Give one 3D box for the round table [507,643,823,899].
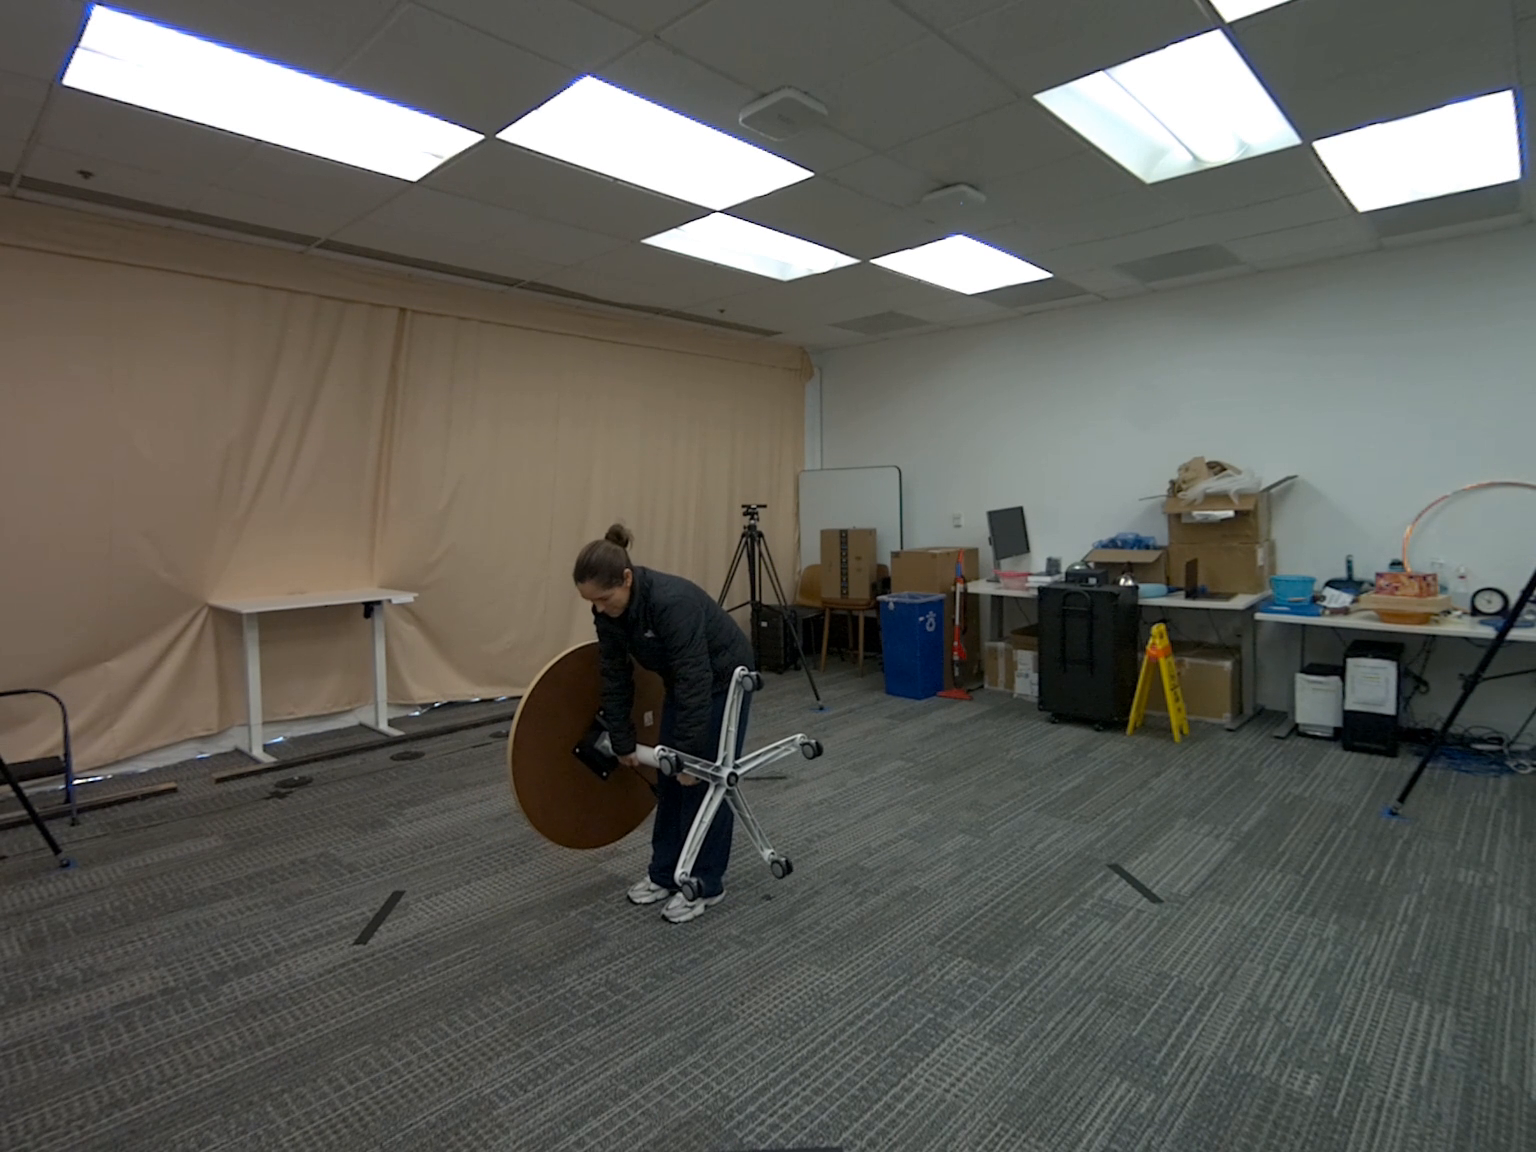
[{"bbox_3d":[-0.322,0.641,2.868,0.812,0.784,0.761,1,4,44],"label":"round table"}]
